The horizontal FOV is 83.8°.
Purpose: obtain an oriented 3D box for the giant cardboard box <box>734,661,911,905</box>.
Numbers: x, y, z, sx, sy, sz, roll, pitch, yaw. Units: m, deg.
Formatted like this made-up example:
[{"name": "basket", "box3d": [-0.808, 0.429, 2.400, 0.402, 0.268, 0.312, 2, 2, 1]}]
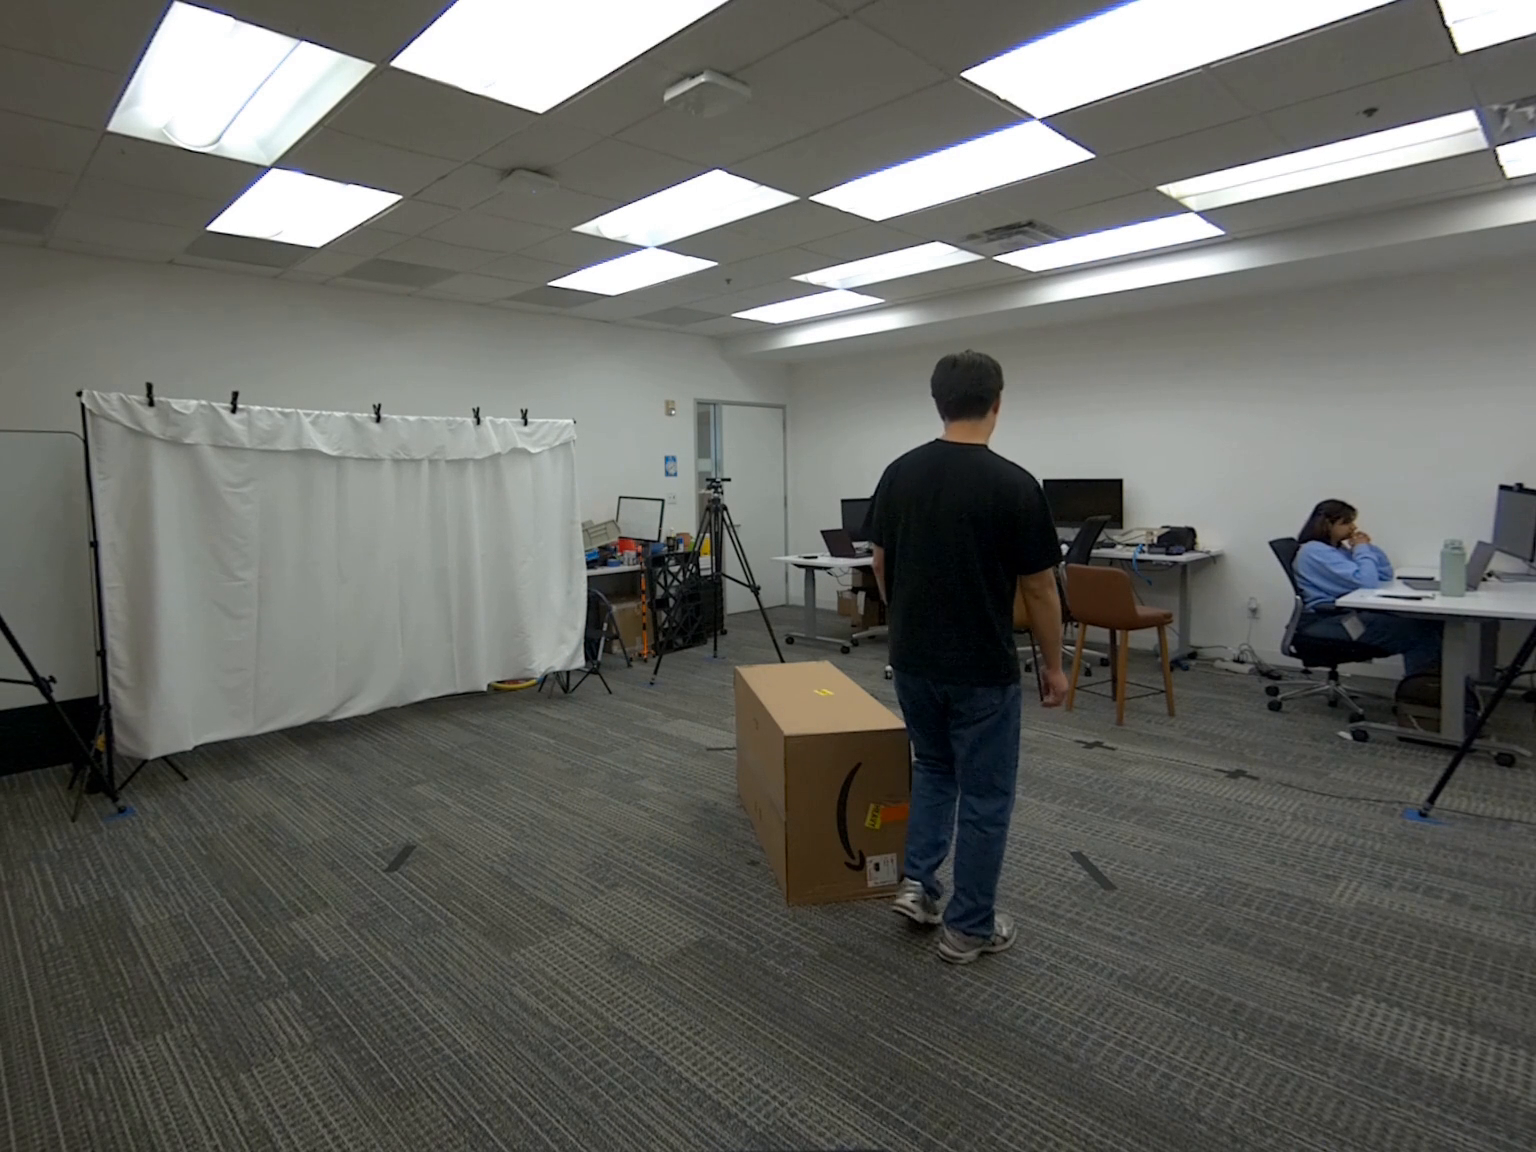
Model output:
[{"name": "giant cardboard box", "box3d": [0.170, 0.728, 3.297, 0.442, 0.581, 1.042, -1, 6, -11]}]
